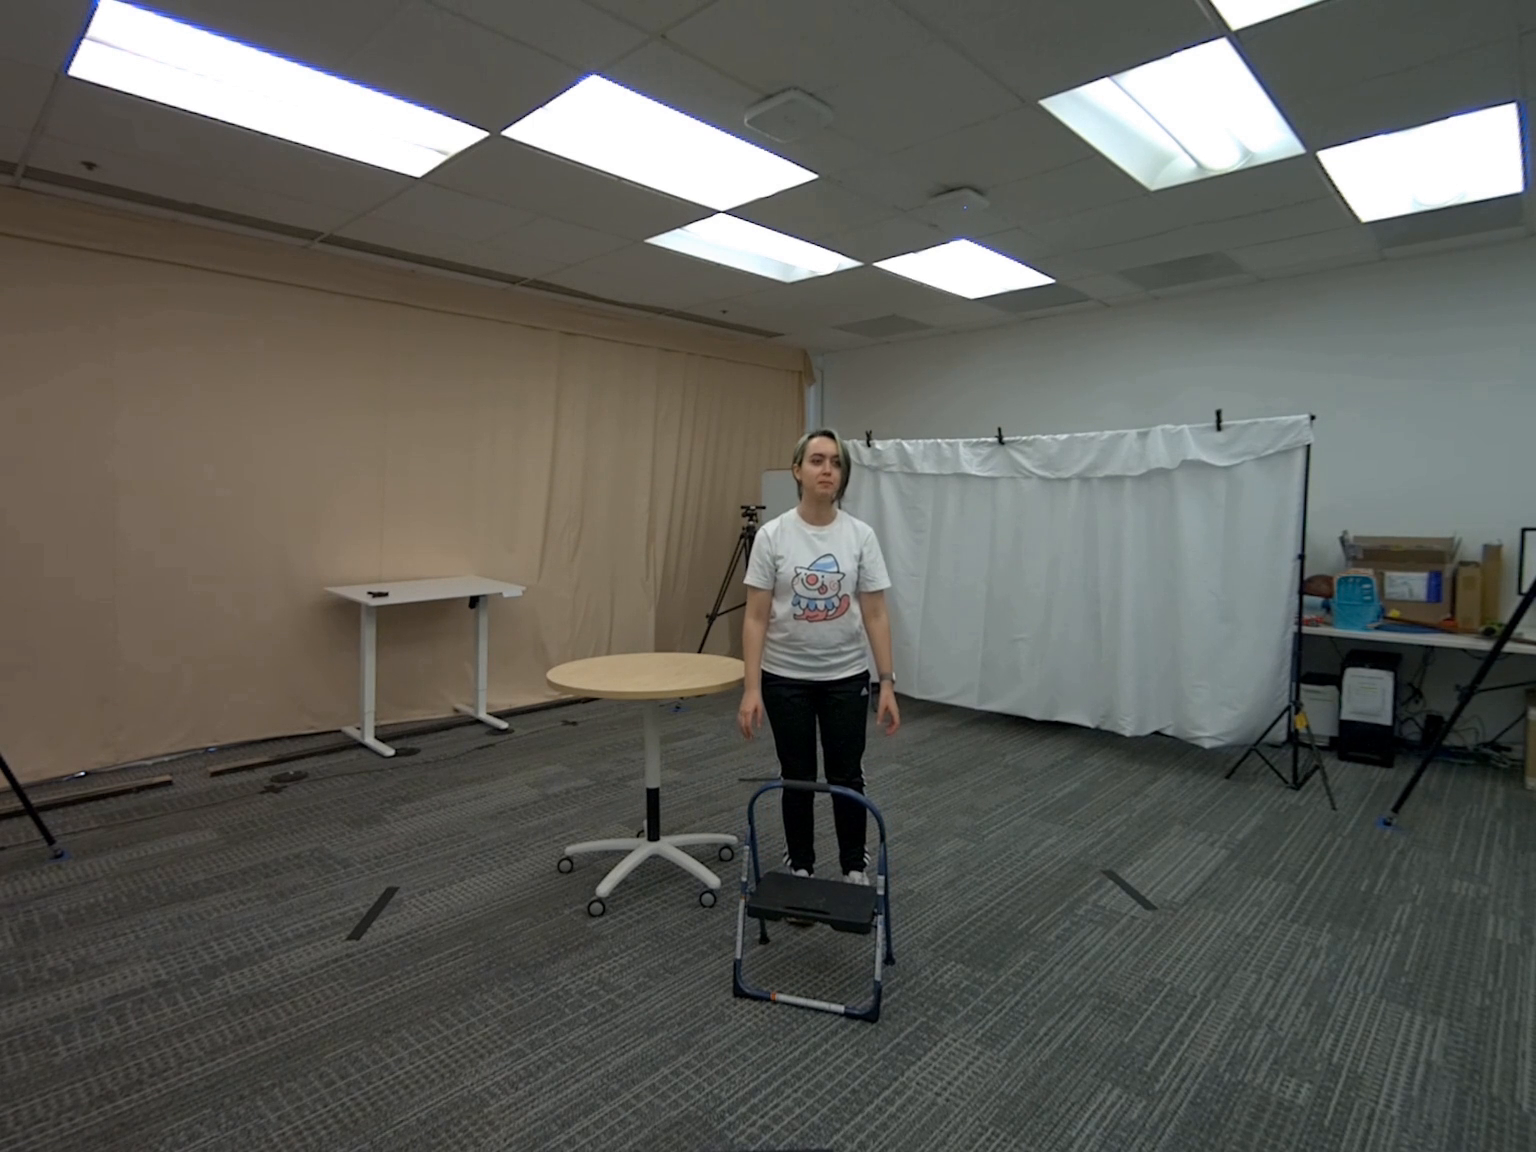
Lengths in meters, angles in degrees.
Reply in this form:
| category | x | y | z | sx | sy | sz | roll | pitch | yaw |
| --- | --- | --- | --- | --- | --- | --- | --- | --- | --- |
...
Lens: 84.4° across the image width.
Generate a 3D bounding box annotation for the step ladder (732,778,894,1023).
| category | x | y | z | sx | sy | sz | roll | pitch | yaw |
| --- | --- | --- | --- | --- | --- | --- | --- | --- | --- |
| step ladder | 0.139 | 0.885 | 2.467 | 0.439 | 0.605 | 0.343 | 1 | 3 | 17 |
